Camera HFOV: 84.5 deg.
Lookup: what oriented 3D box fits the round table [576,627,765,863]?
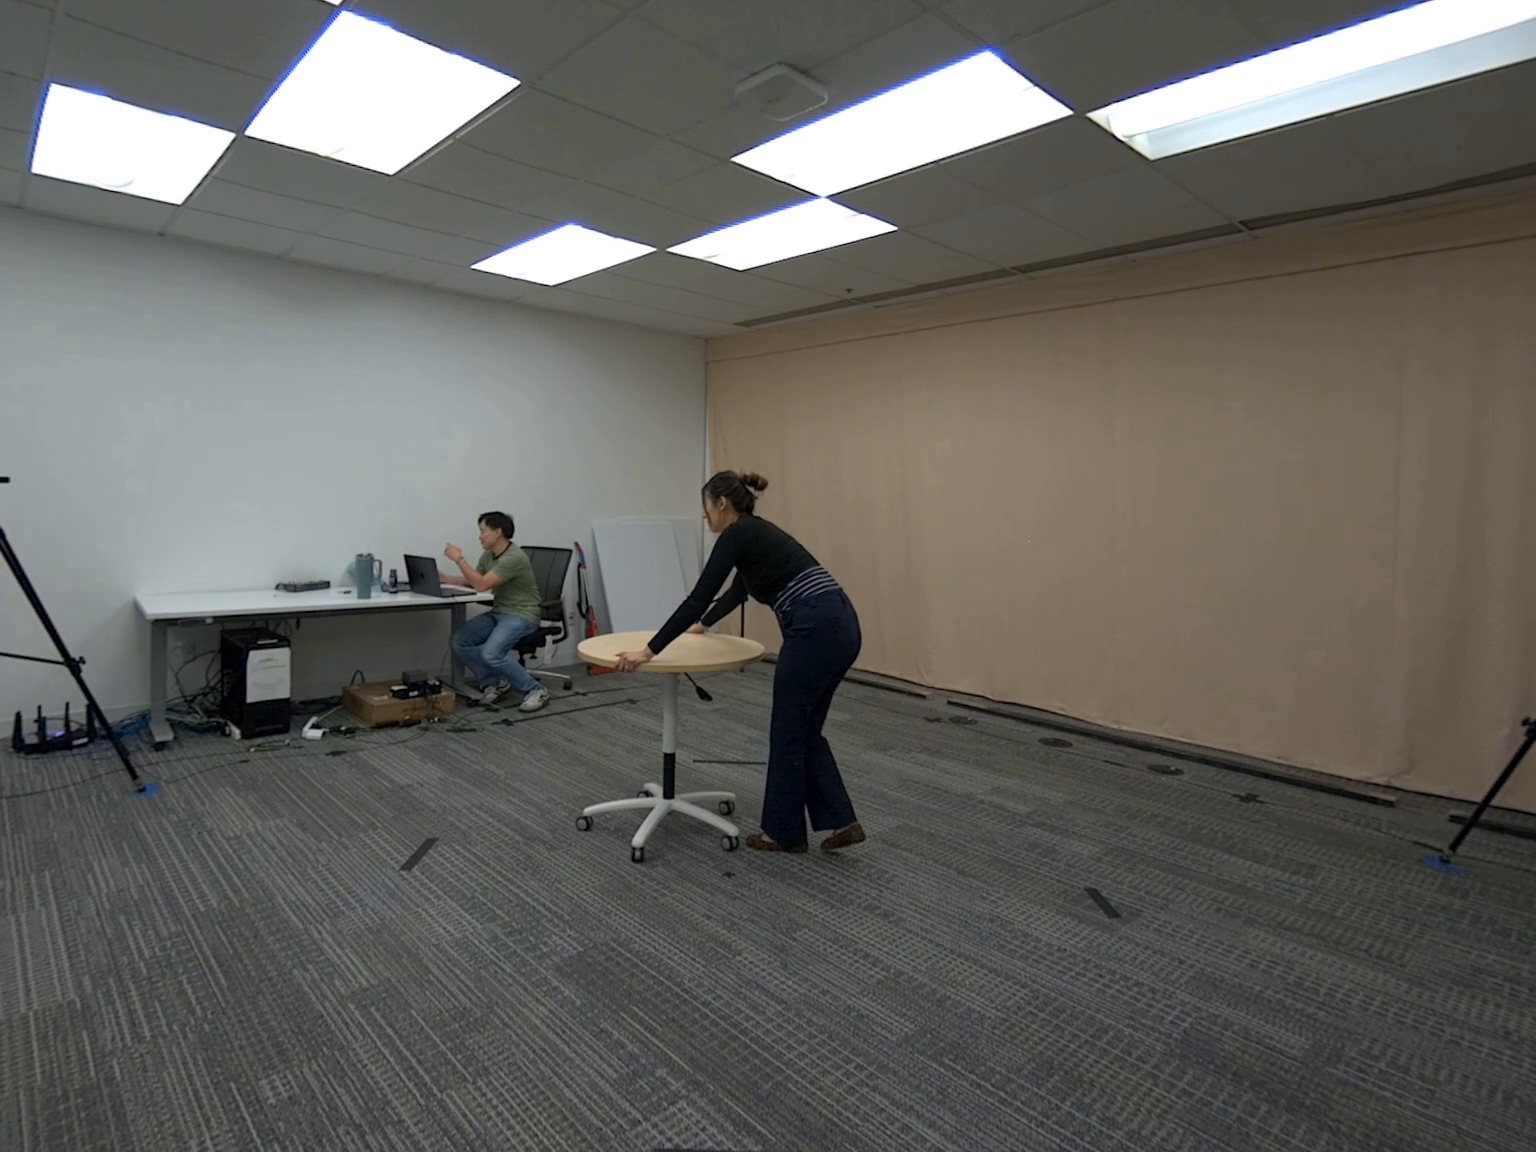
[{"bbox_3d":[-0.420,0.676,3.480,0.763,0.792,0.767,2,4,-1],"label":"round table"}]
